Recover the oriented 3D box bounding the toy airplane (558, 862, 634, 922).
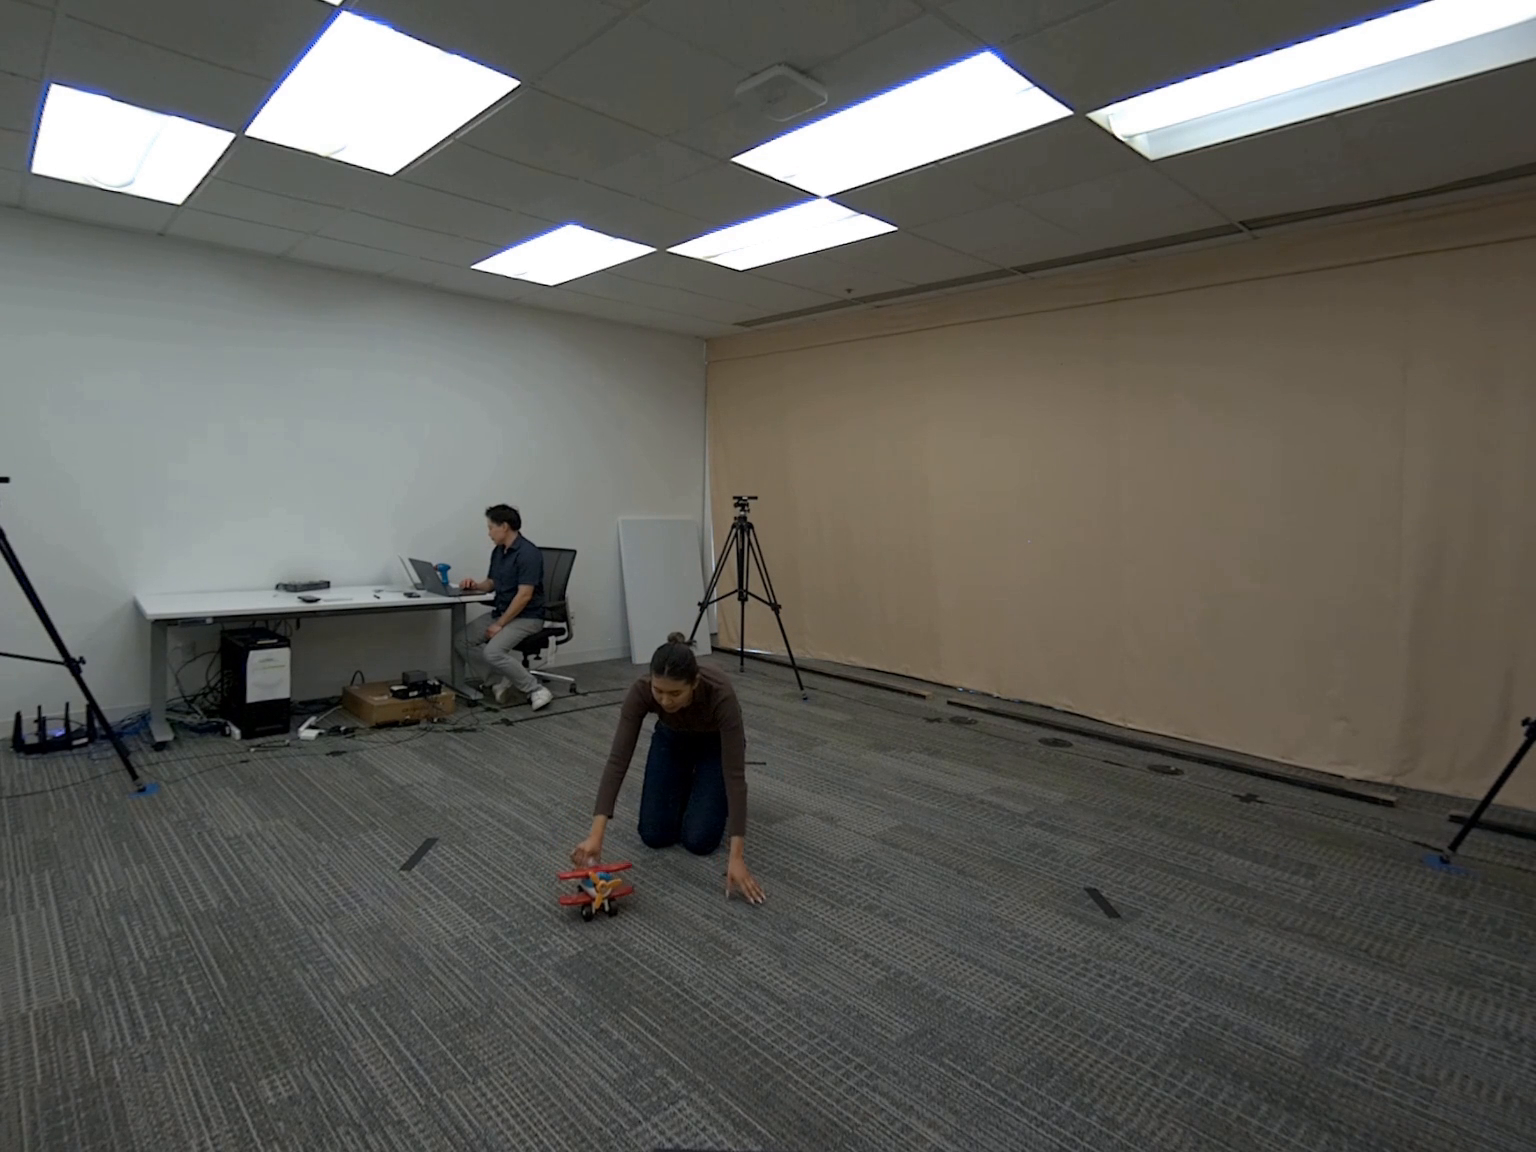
[{"bbox_3d":[-0.618,1.044,2.830,0.266,0.156,0.246,6,7,36],"label":"toy airplane"}]
